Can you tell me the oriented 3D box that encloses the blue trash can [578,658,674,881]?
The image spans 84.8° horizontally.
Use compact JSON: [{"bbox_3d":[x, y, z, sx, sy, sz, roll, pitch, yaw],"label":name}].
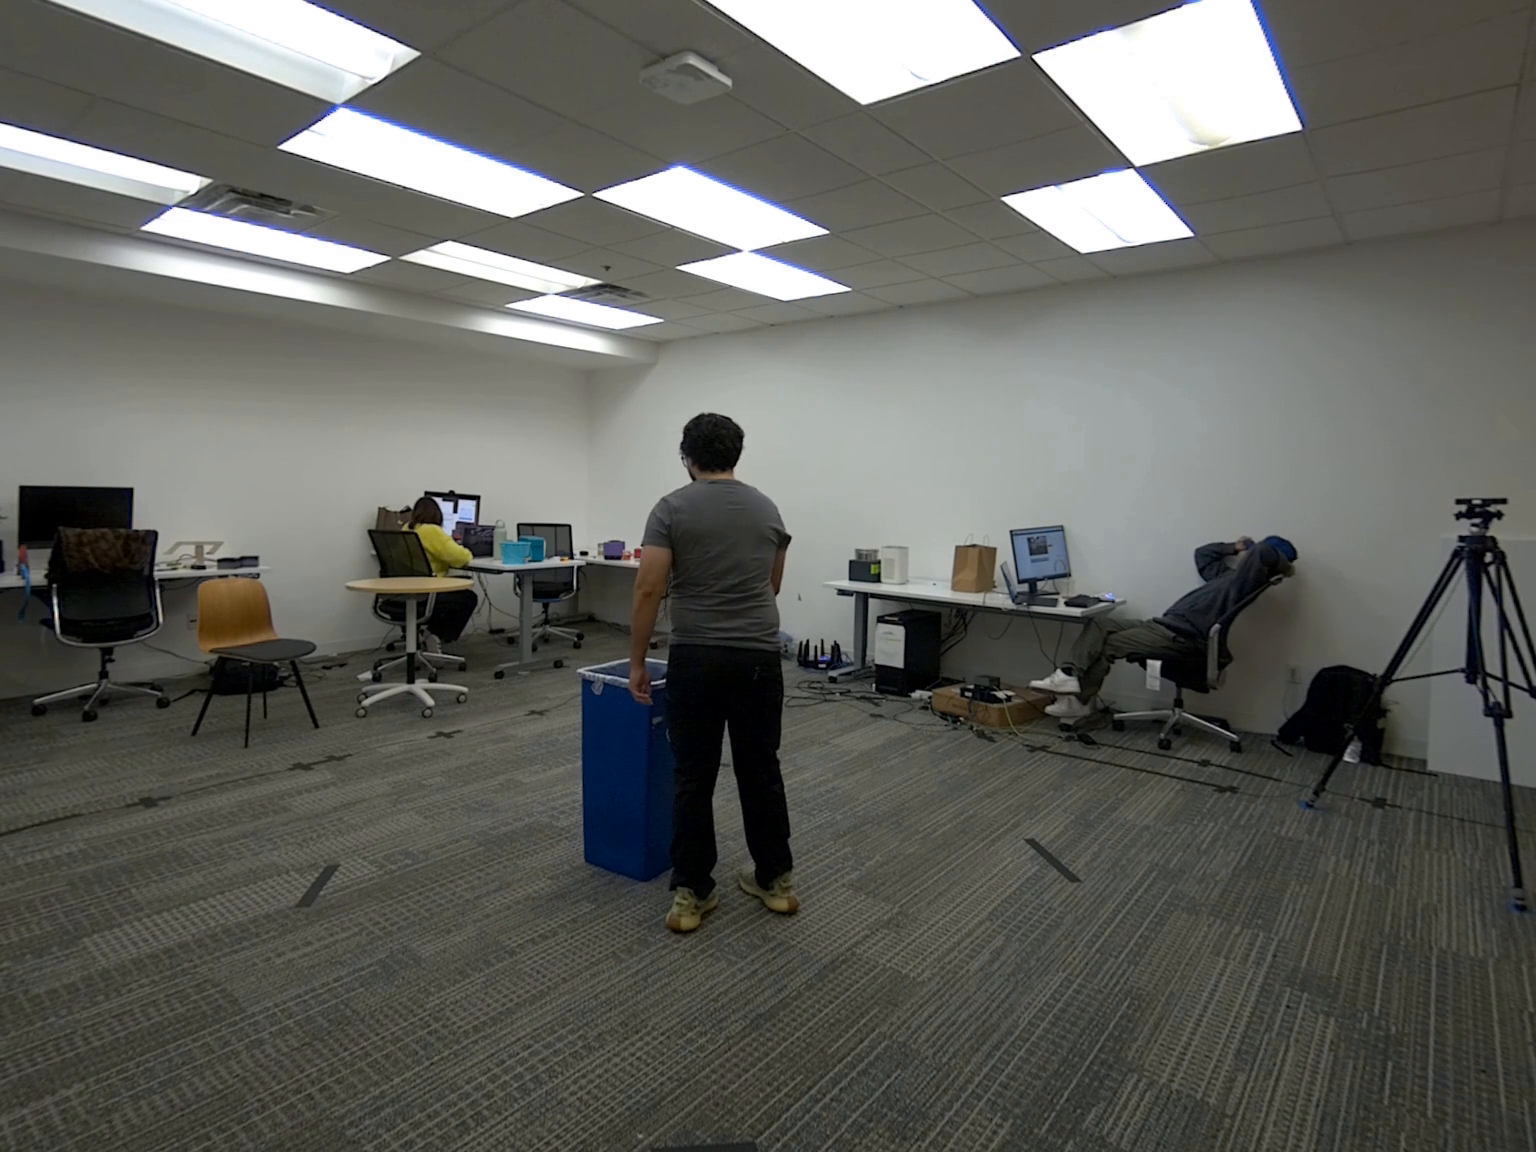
[{"bbox_3d":[-0.485,0.700,3.191,0.390,0.712,0.364,3,4,33],"label":"blue trash can"}]
